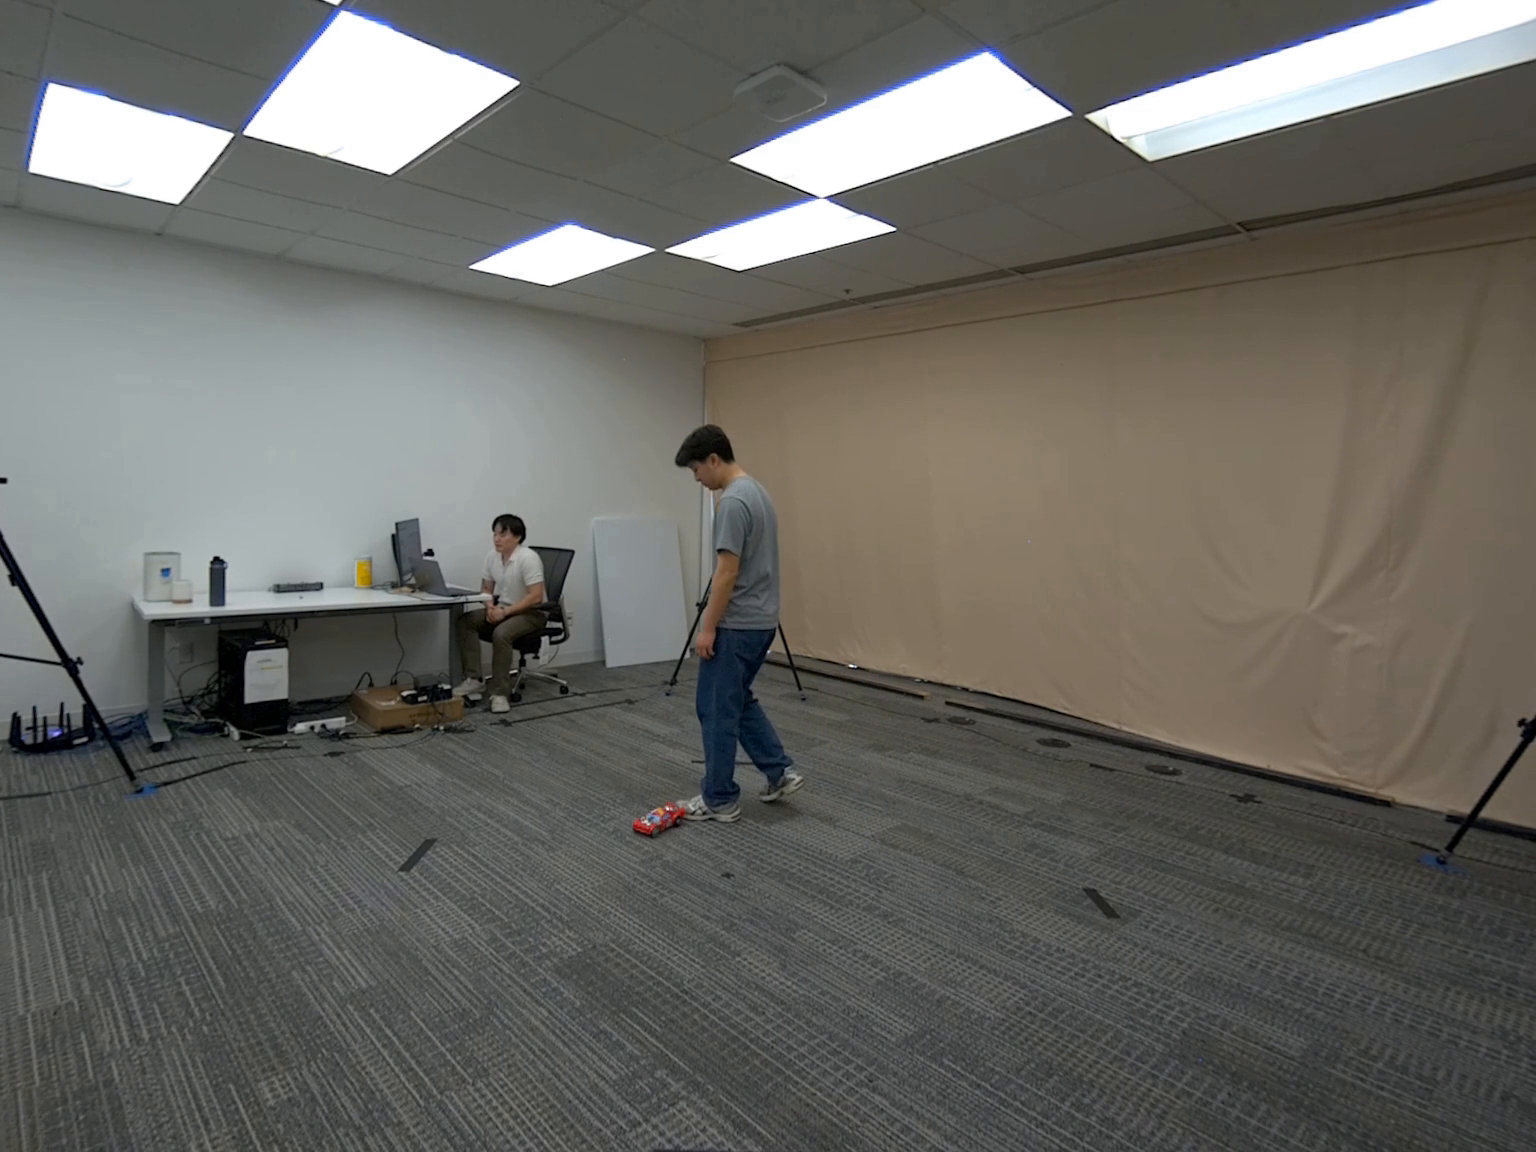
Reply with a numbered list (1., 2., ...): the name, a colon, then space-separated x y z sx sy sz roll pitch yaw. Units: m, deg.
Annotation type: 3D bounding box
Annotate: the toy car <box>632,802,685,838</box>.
1. toy car: -0.462 1.027 3.545 0.133 0.082 0.251 4 16 34
